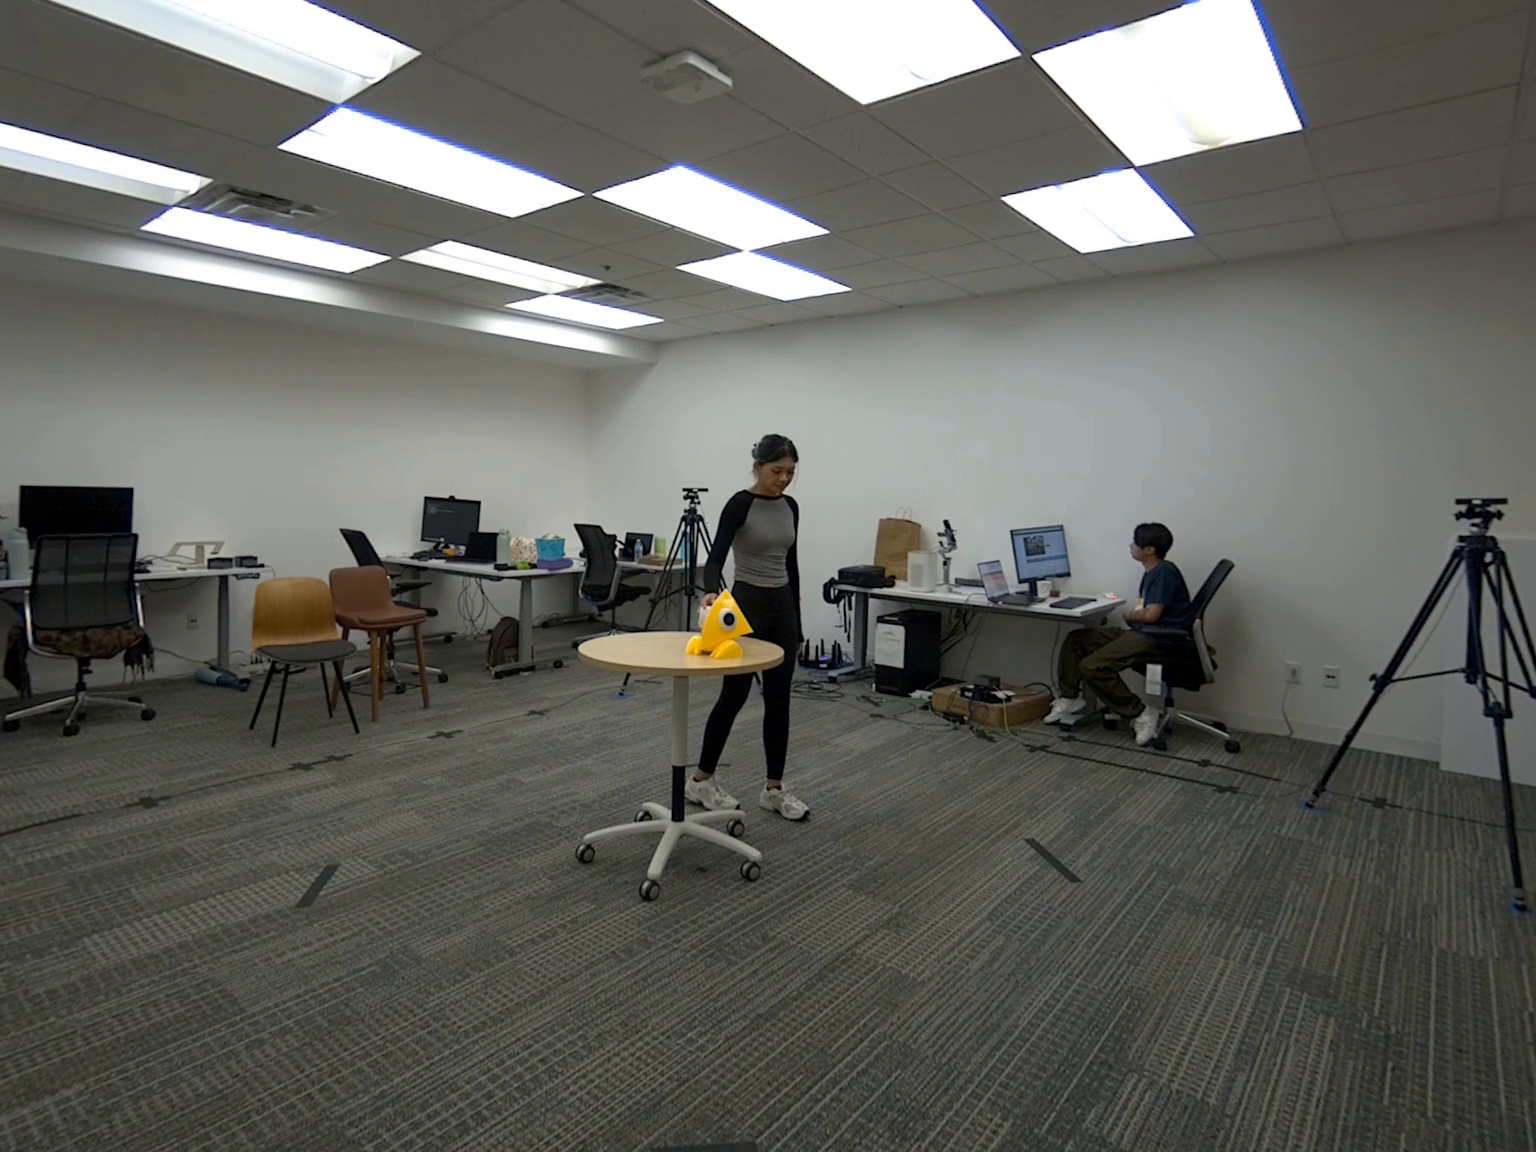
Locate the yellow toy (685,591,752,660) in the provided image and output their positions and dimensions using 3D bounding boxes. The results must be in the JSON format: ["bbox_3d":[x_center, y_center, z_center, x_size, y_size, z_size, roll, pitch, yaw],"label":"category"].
[{"bbox_3d":[-0.198,0.165,3.094,0.211,0.230,0.188,3,4,33],"label":"yellow toy"}]
